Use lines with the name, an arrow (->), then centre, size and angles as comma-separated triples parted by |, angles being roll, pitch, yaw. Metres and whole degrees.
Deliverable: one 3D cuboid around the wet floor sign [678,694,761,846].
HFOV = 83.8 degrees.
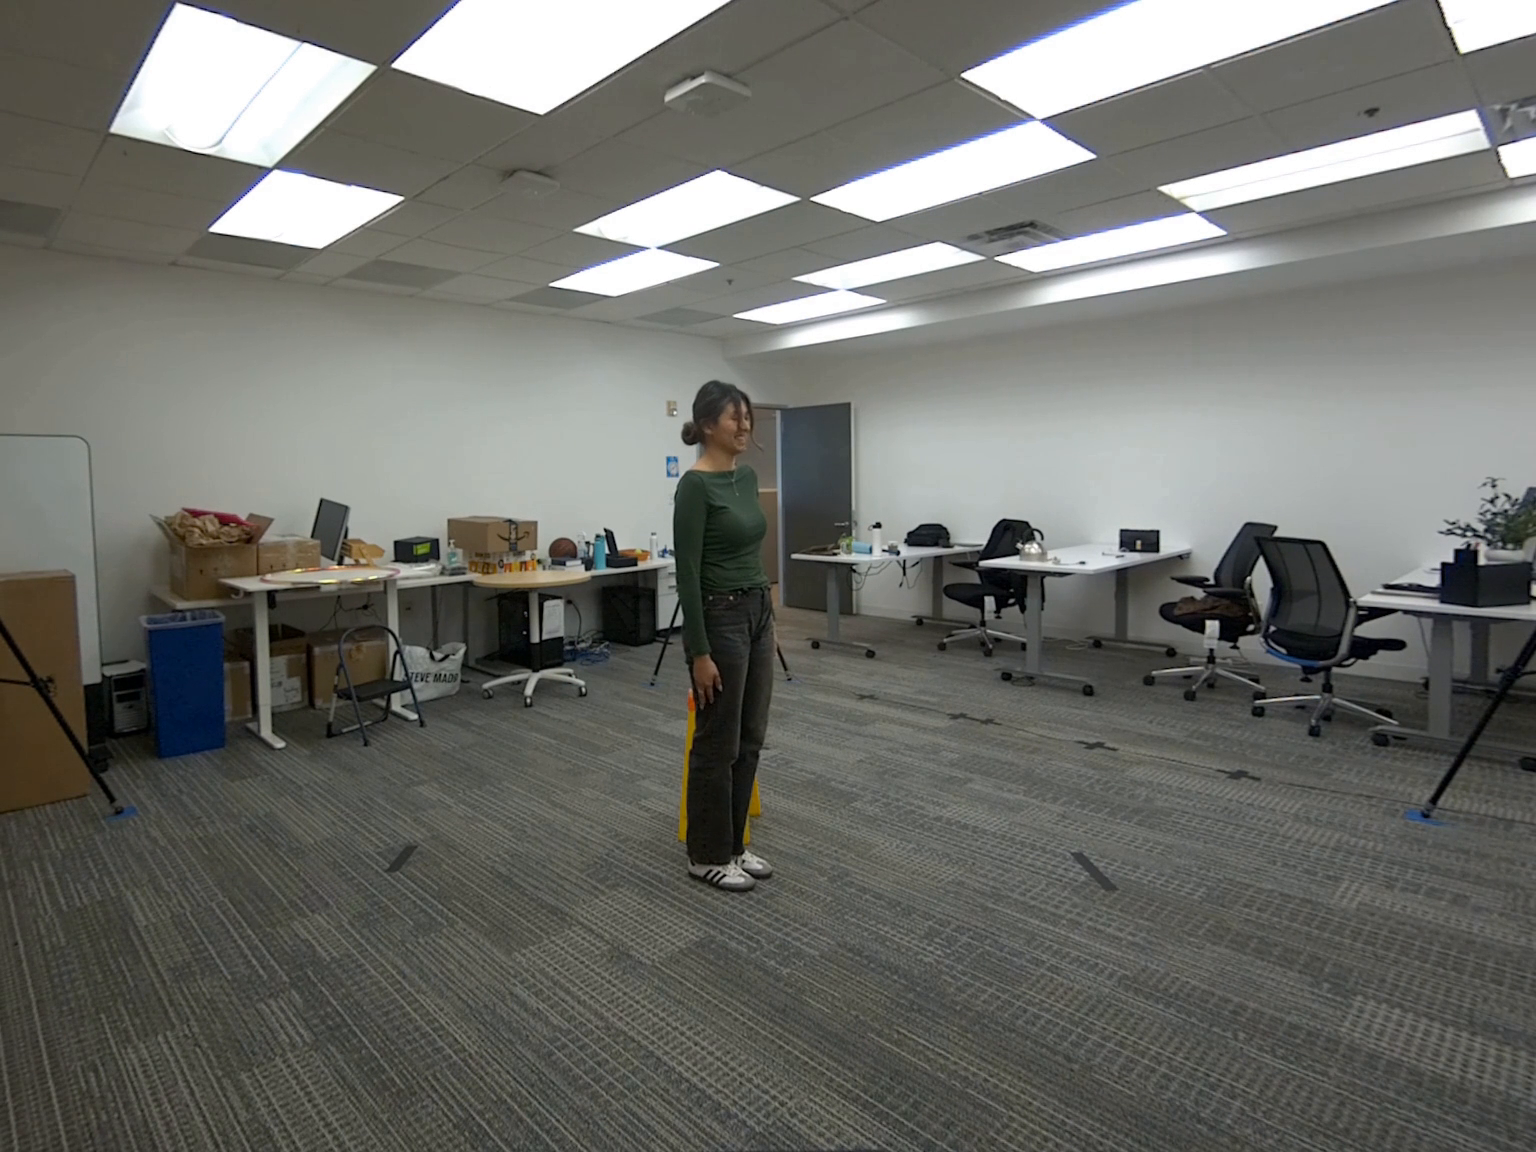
wet floor sign -> -0.196, 0.692, 3.412 | 0.285, 0.644, 0.288 | -2, 4, 9
